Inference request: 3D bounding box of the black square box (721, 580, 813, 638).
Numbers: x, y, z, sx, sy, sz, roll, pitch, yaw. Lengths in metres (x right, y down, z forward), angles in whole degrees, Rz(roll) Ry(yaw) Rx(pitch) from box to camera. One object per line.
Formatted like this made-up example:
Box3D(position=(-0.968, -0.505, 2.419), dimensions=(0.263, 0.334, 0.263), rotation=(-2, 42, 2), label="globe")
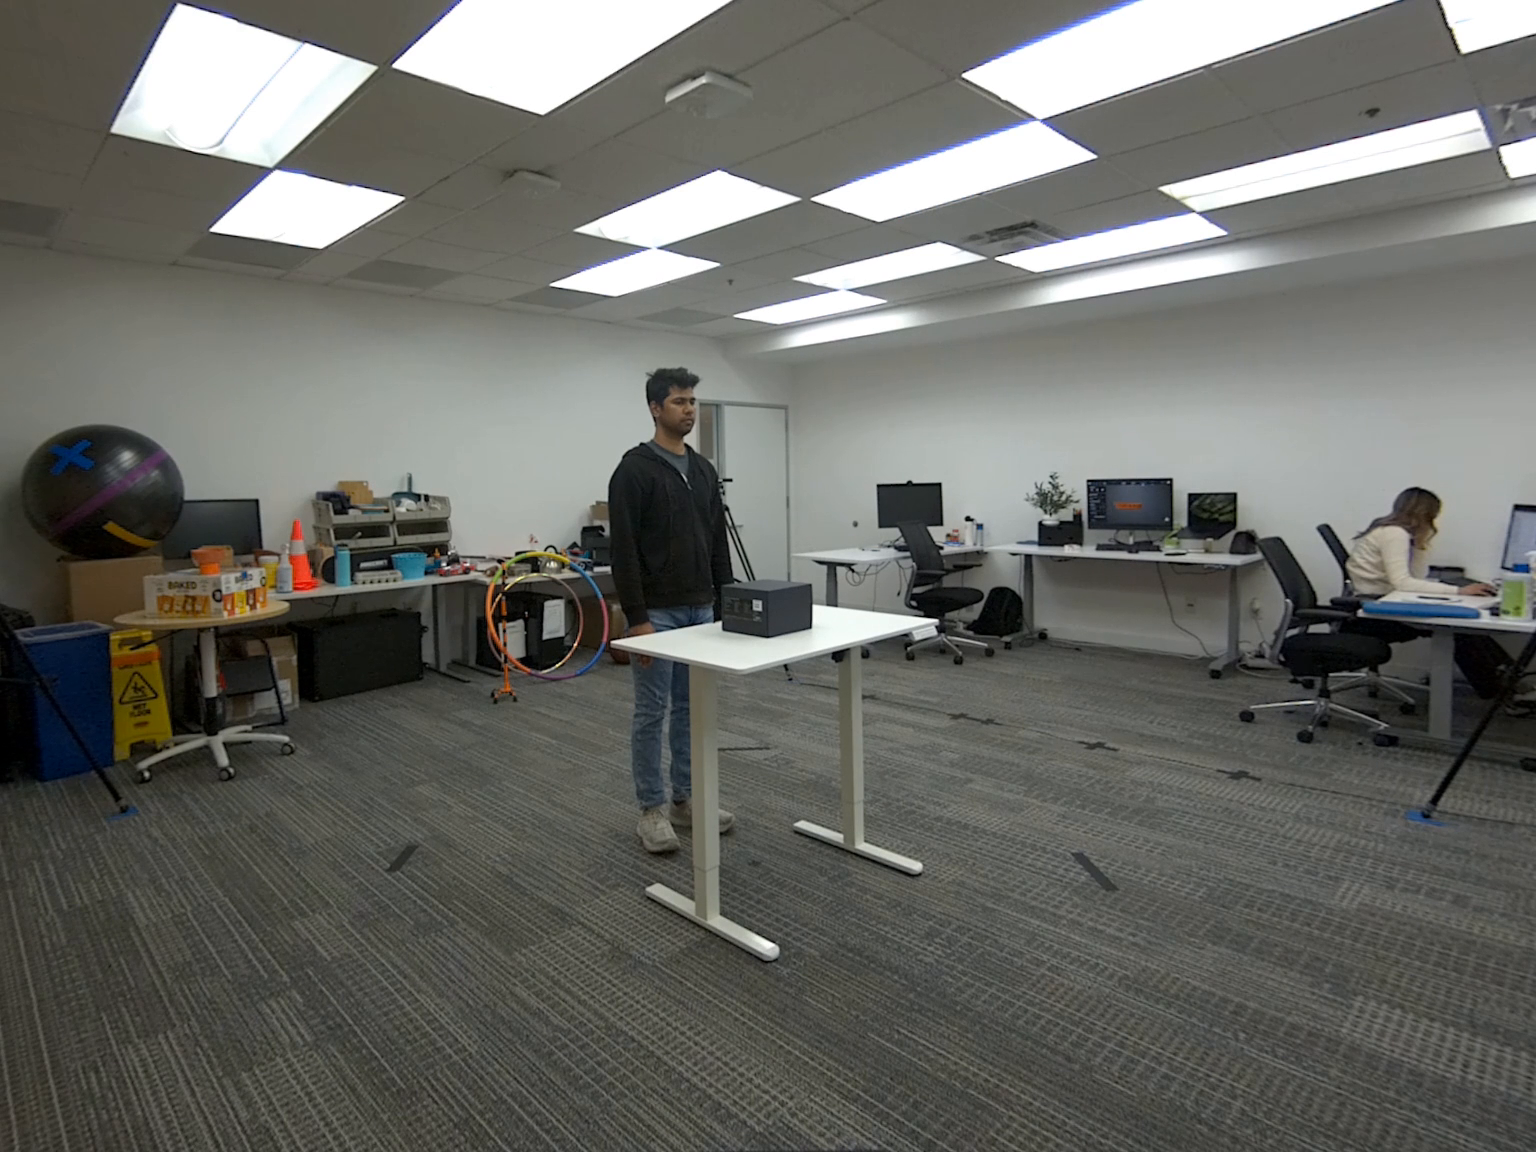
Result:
Box3D(position=(-0.002, 0.105, 2.902), dimensions=(0.223, 0.155, 0.222), rotation=(4, 8, 43), label="black square box")
